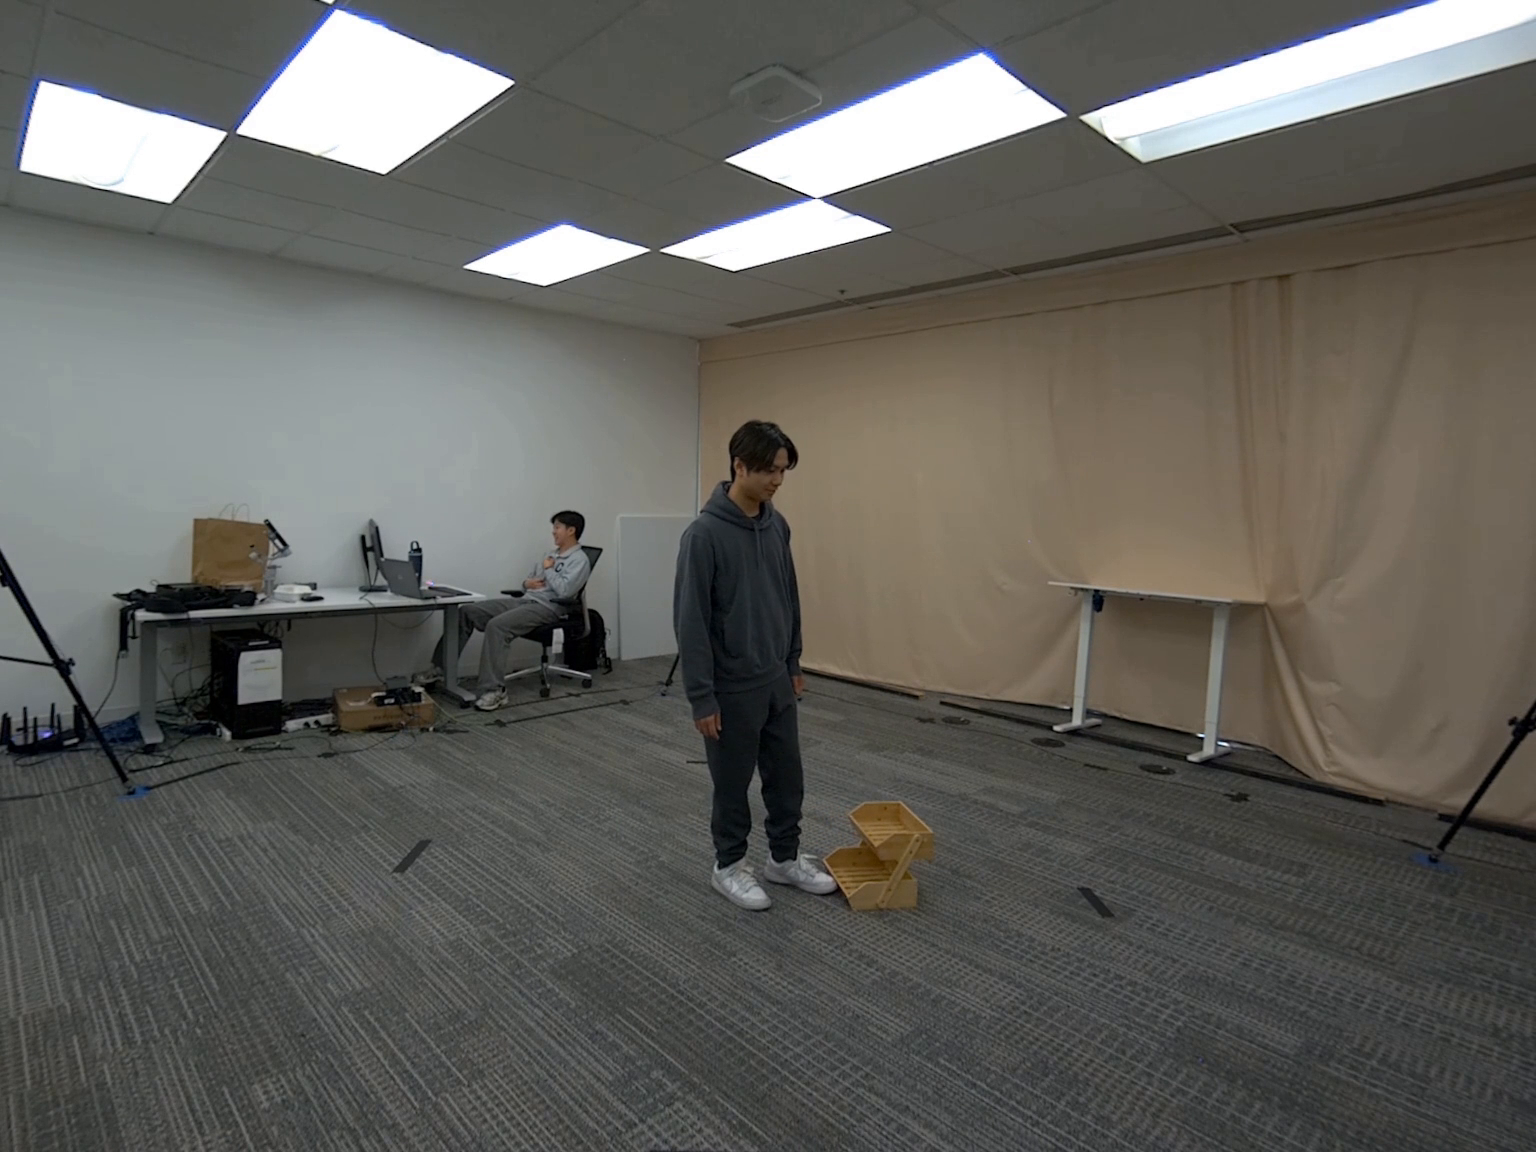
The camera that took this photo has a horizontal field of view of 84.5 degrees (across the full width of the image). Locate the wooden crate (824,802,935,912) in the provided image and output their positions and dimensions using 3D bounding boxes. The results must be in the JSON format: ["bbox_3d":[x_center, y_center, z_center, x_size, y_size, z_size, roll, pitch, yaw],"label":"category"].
[{"bbox_3d":[0.377,0.991,3.022,0.299,0.273,0.328,1,4,-12],"label":"wooden crate"}]
